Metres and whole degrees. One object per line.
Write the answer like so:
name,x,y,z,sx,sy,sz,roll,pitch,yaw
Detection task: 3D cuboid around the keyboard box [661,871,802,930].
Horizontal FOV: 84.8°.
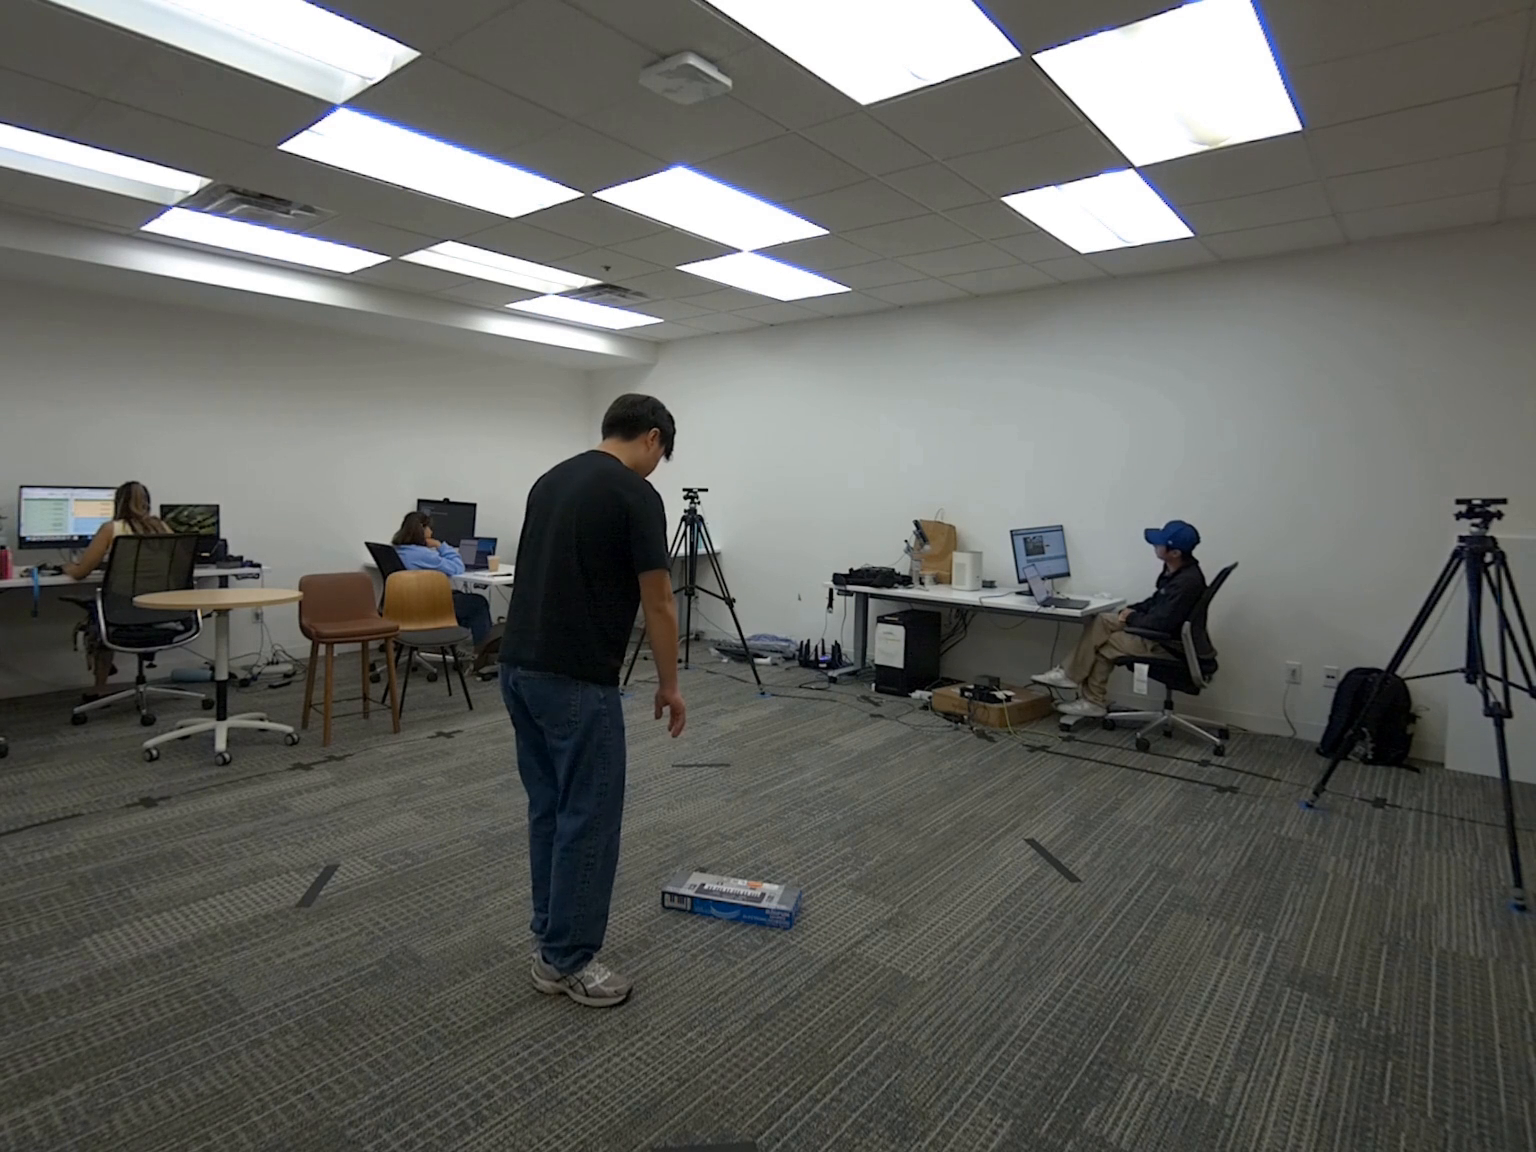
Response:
keyboard box,-0.126,1.067,2.830,0.445,0.059,0.173,3,5,16
